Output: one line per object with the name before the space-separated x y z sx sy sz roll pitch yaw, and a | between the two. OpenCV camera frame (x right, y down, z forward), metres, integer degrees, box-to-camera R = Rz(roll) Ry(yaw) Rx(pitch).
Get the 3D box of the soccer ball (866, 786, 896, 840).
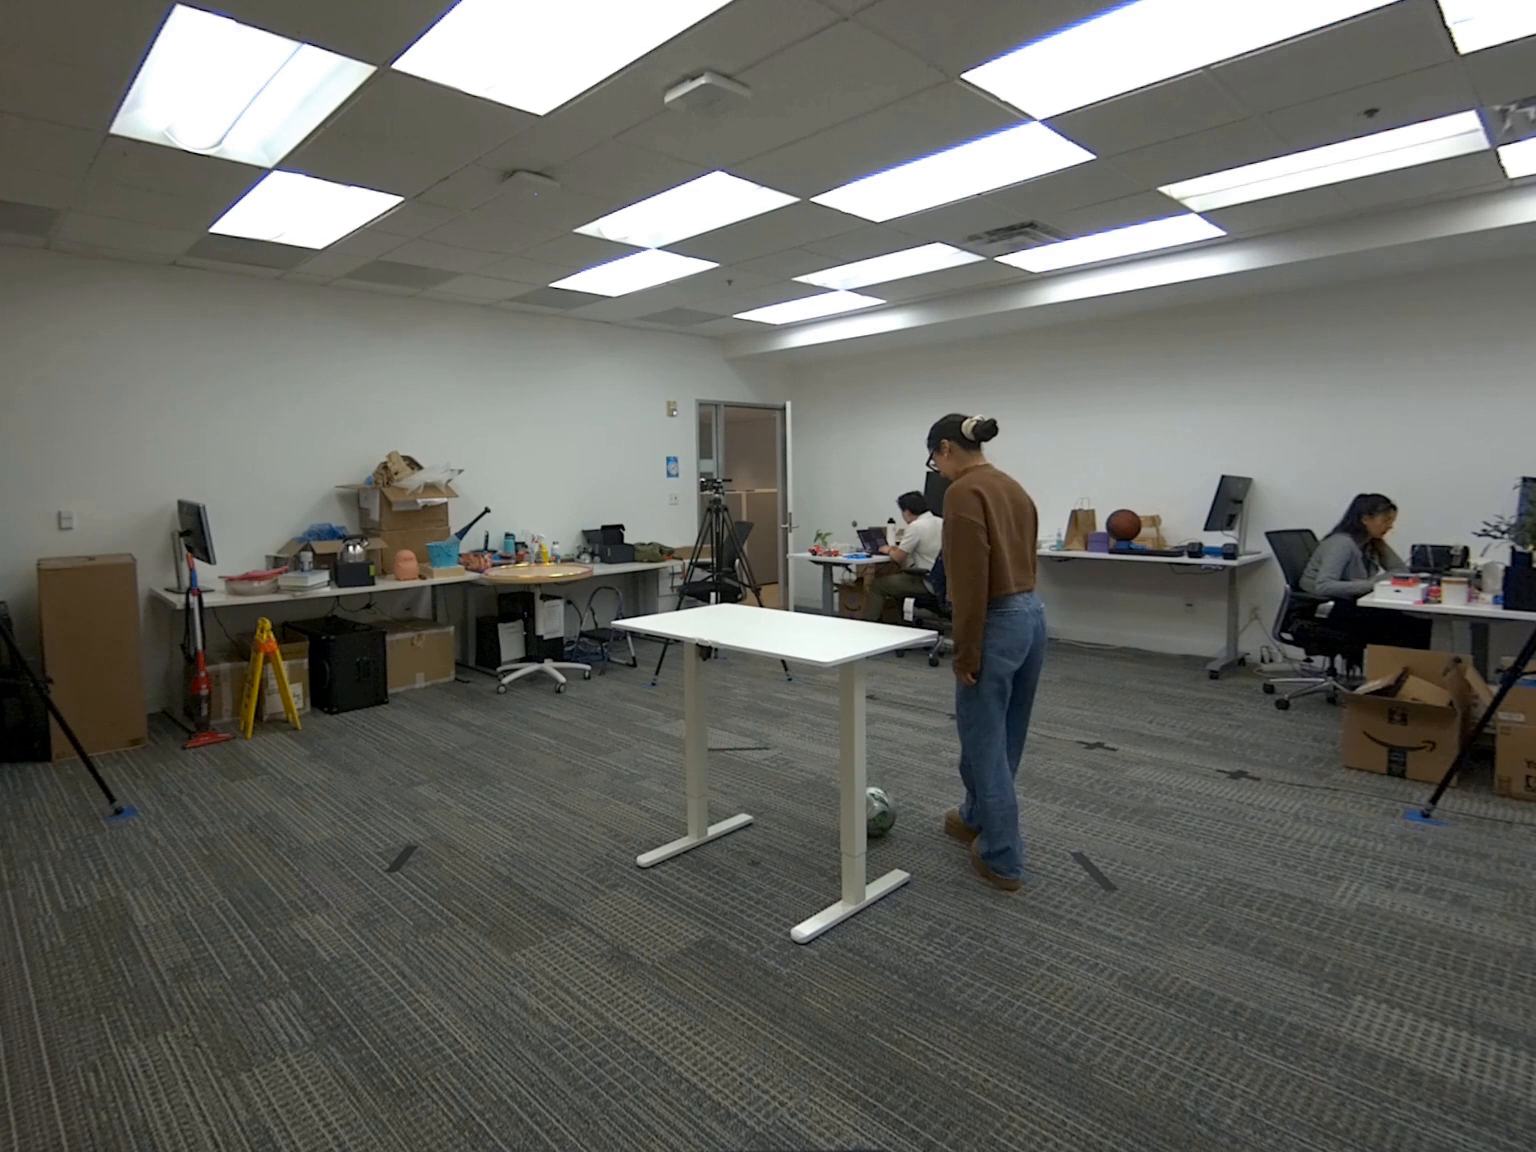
soccer ball | 0.425 0.910 3.342 0.187 0.187 0.188 -1 5 -2
